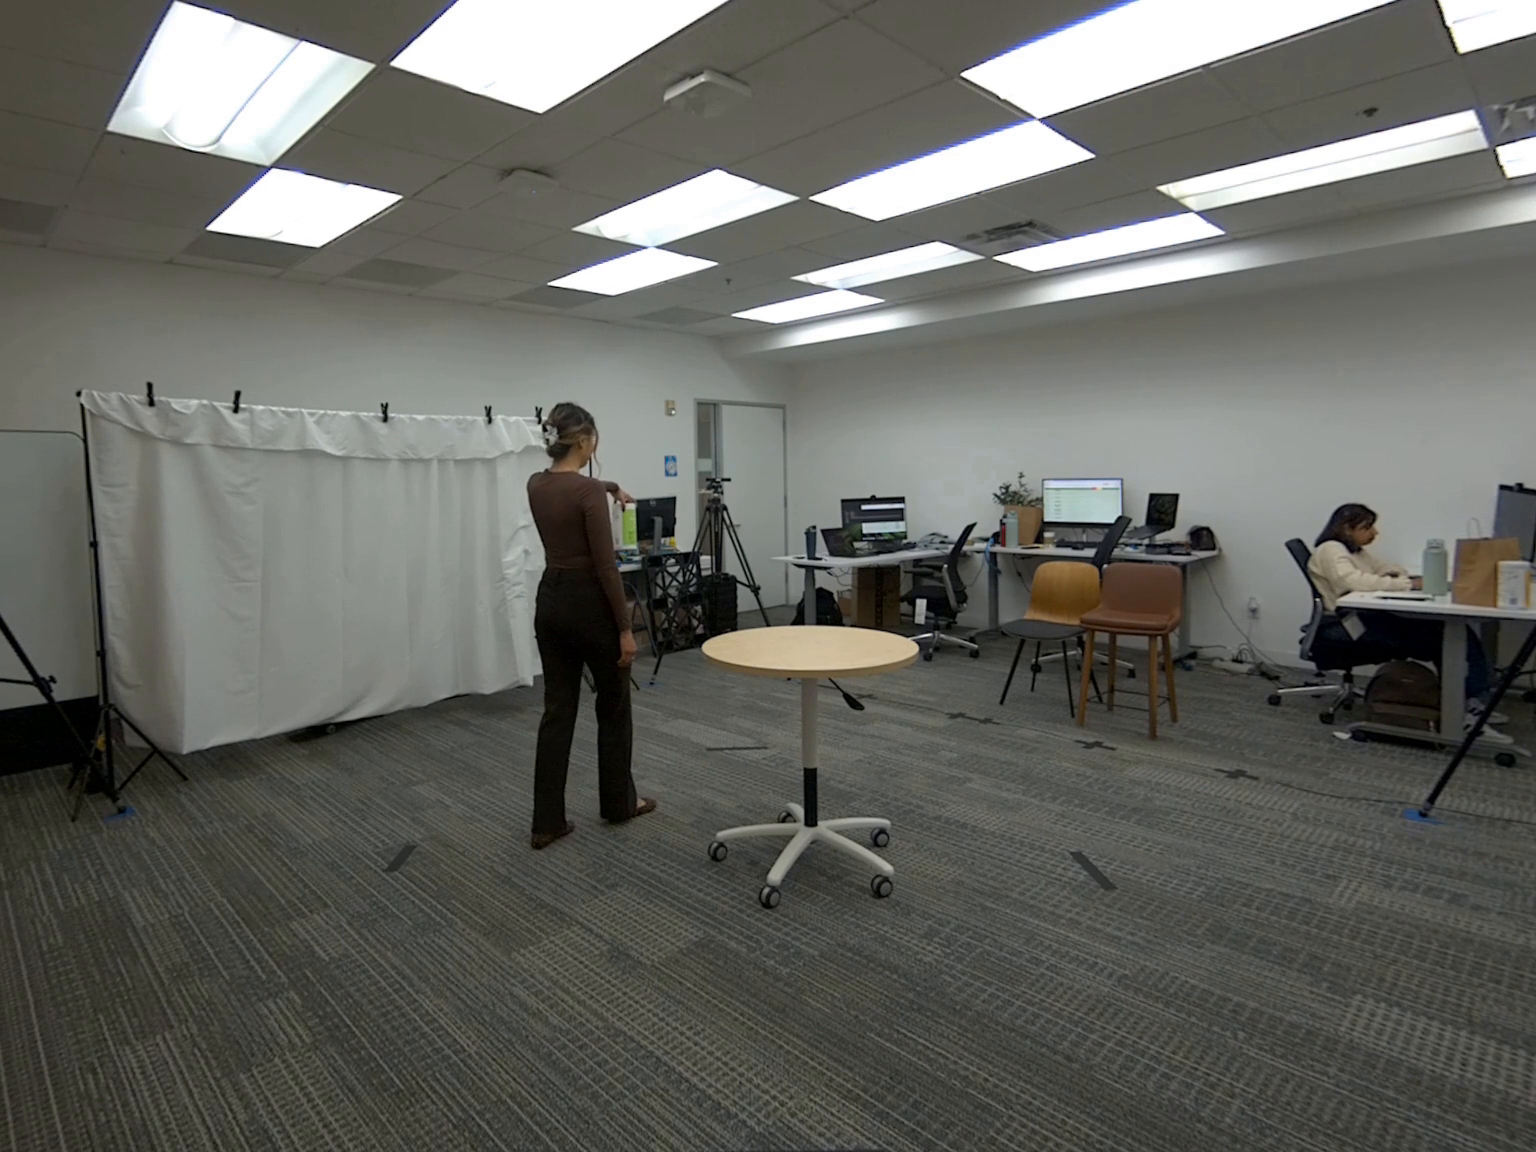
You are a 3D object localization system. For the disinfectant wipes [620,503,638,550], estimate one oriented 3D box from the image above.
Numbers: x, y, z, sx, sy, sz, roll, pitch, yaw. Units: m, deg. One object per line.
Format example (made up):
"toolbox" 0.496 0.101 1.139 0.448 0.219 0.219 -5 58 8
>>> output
"disinfectant wipes" -0.668 -0.229 3.988 0.118 0.217 0.118 0 0 -2
